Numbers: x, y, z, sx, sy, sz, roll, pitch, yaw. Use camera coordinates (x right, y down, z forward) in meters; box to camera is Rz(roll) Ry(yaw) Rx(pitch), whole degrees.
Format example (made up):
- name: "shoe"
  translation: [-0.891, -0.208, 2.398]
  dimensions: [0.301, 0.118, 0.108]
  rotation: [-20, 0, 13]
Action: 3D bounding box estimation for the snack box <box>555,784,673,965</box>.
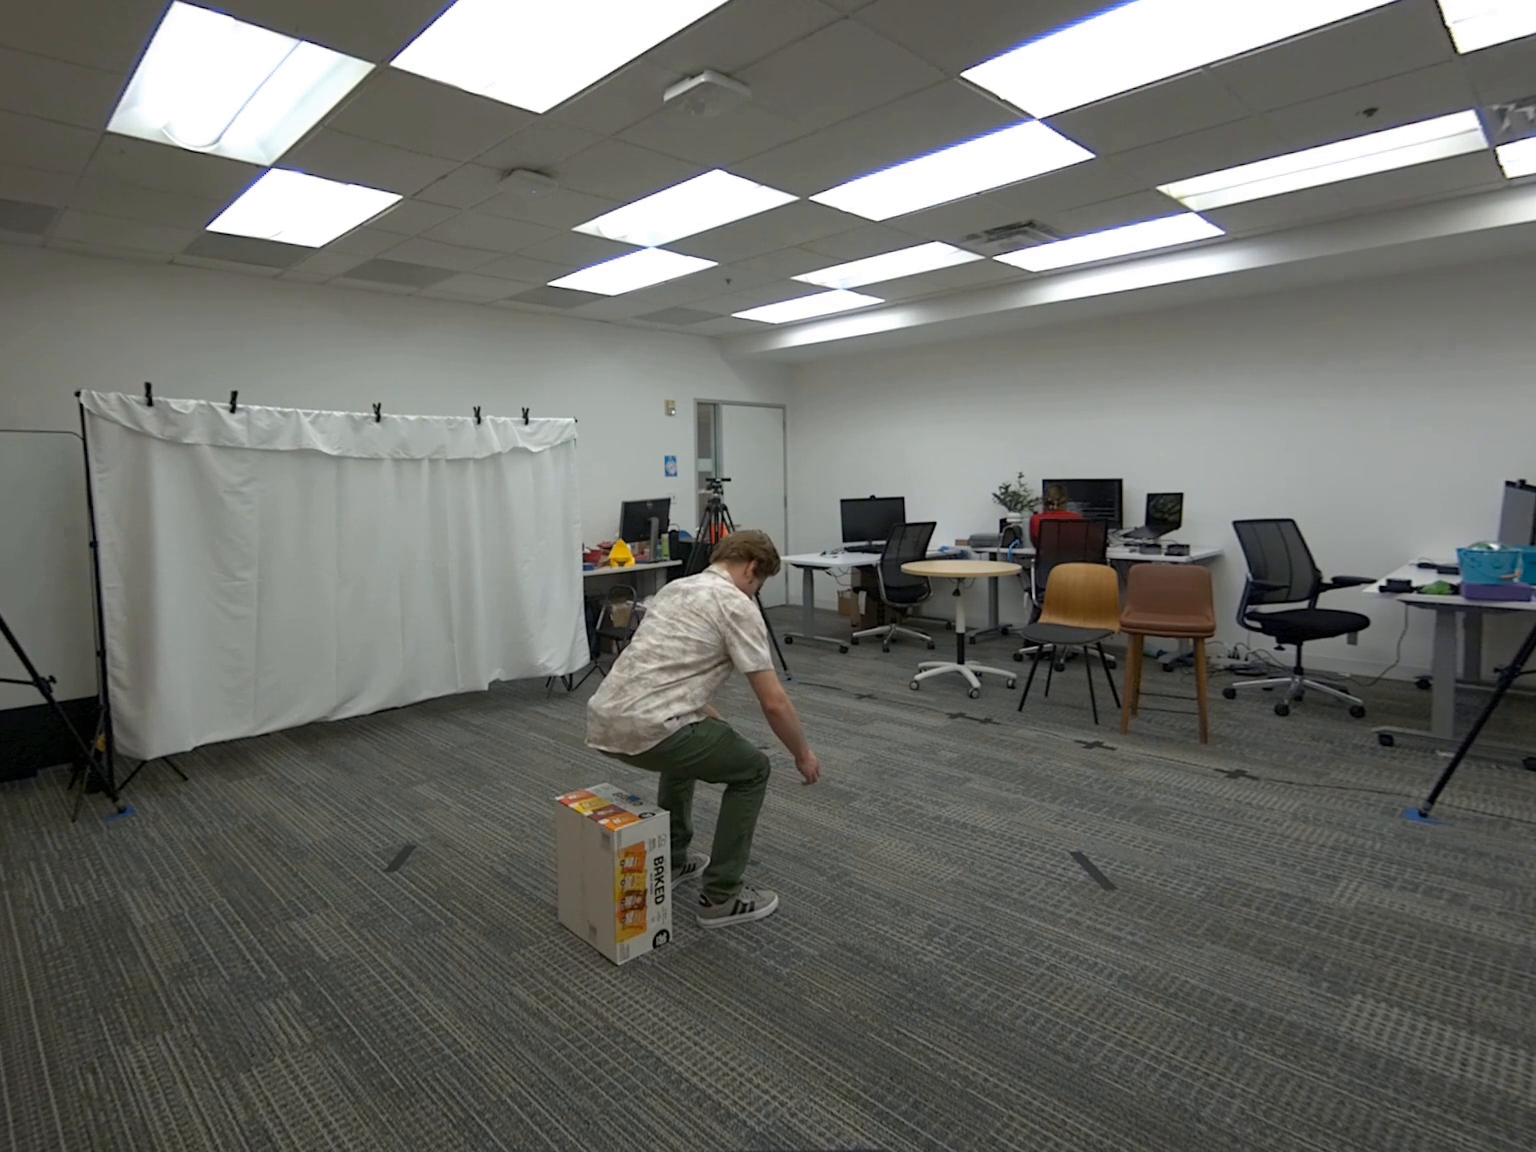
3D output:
- name: "snack box"
  translation: [-0.480, 0.904, 2.636]
  dimensions: [0.200, 0.403, 0.351]
  rotation: [-5, 6, -42]
